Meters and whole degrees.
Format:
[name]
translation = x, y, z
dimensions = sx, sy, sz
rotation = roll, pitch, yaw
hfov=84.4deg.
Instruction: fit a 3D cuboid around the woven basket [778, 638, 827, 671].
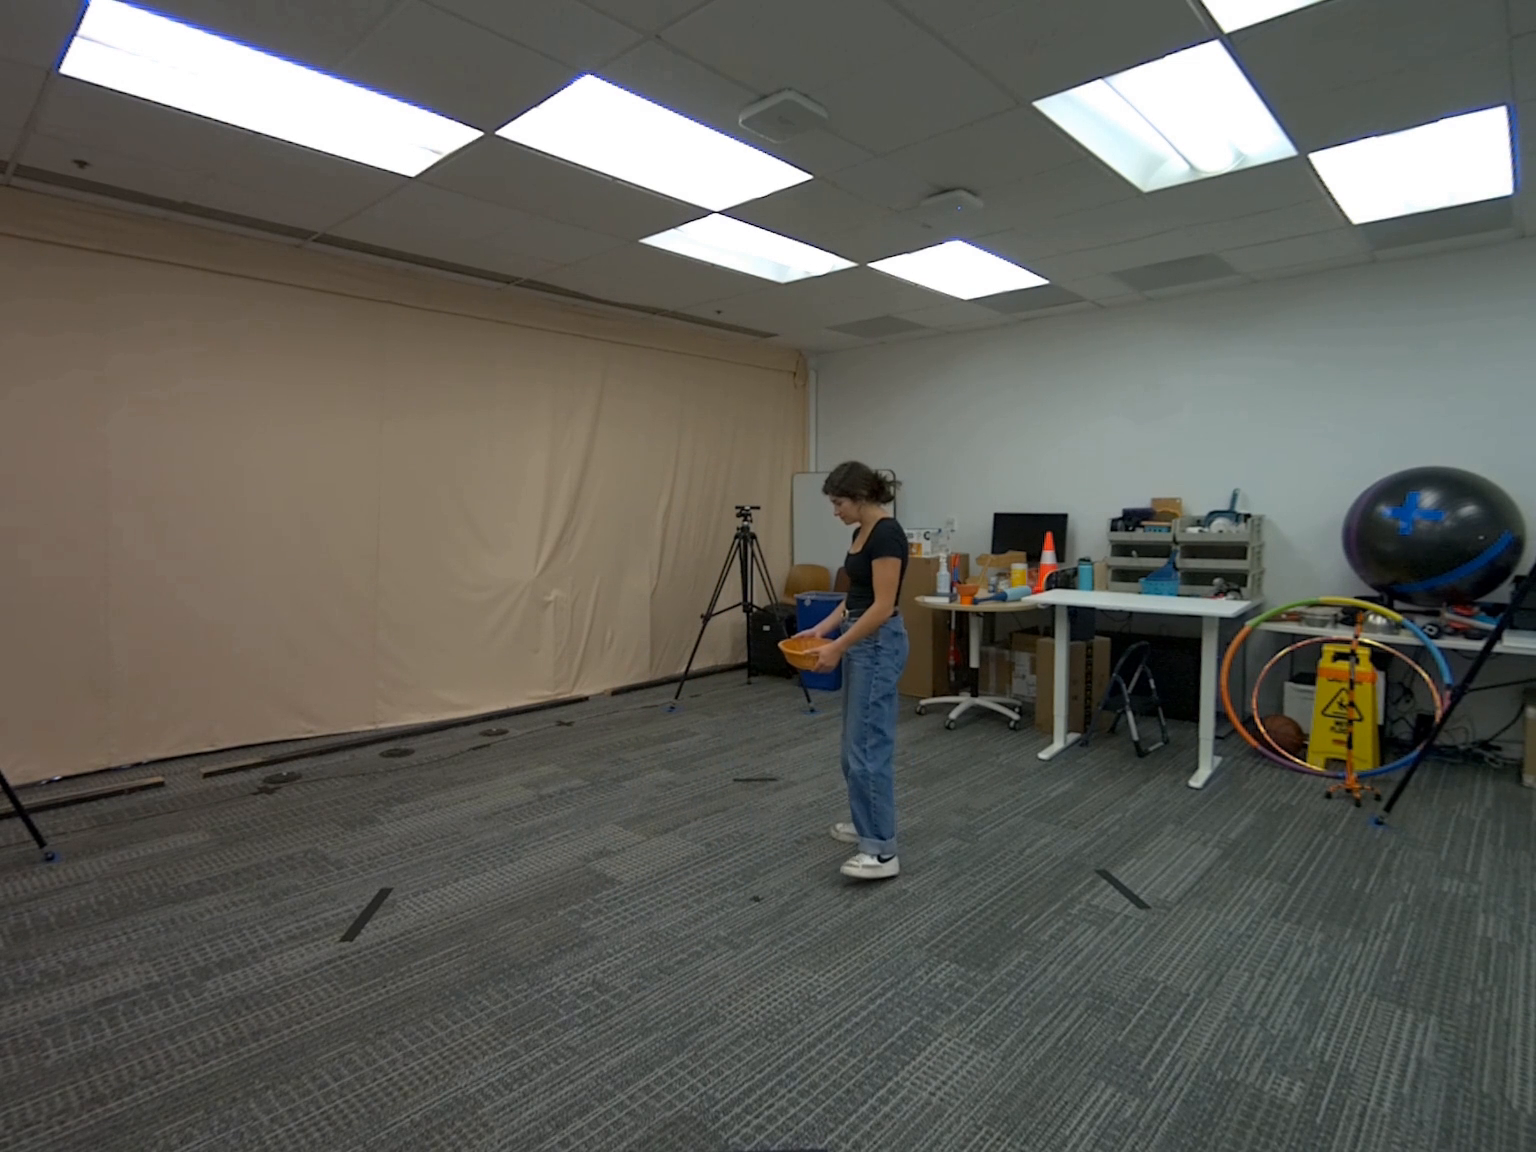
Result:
[woven basket]
translation = 0.190, 0.318, 3.377
dimensions = 0.251, 0.073, 0.353
rotation = 1, 4, -5
